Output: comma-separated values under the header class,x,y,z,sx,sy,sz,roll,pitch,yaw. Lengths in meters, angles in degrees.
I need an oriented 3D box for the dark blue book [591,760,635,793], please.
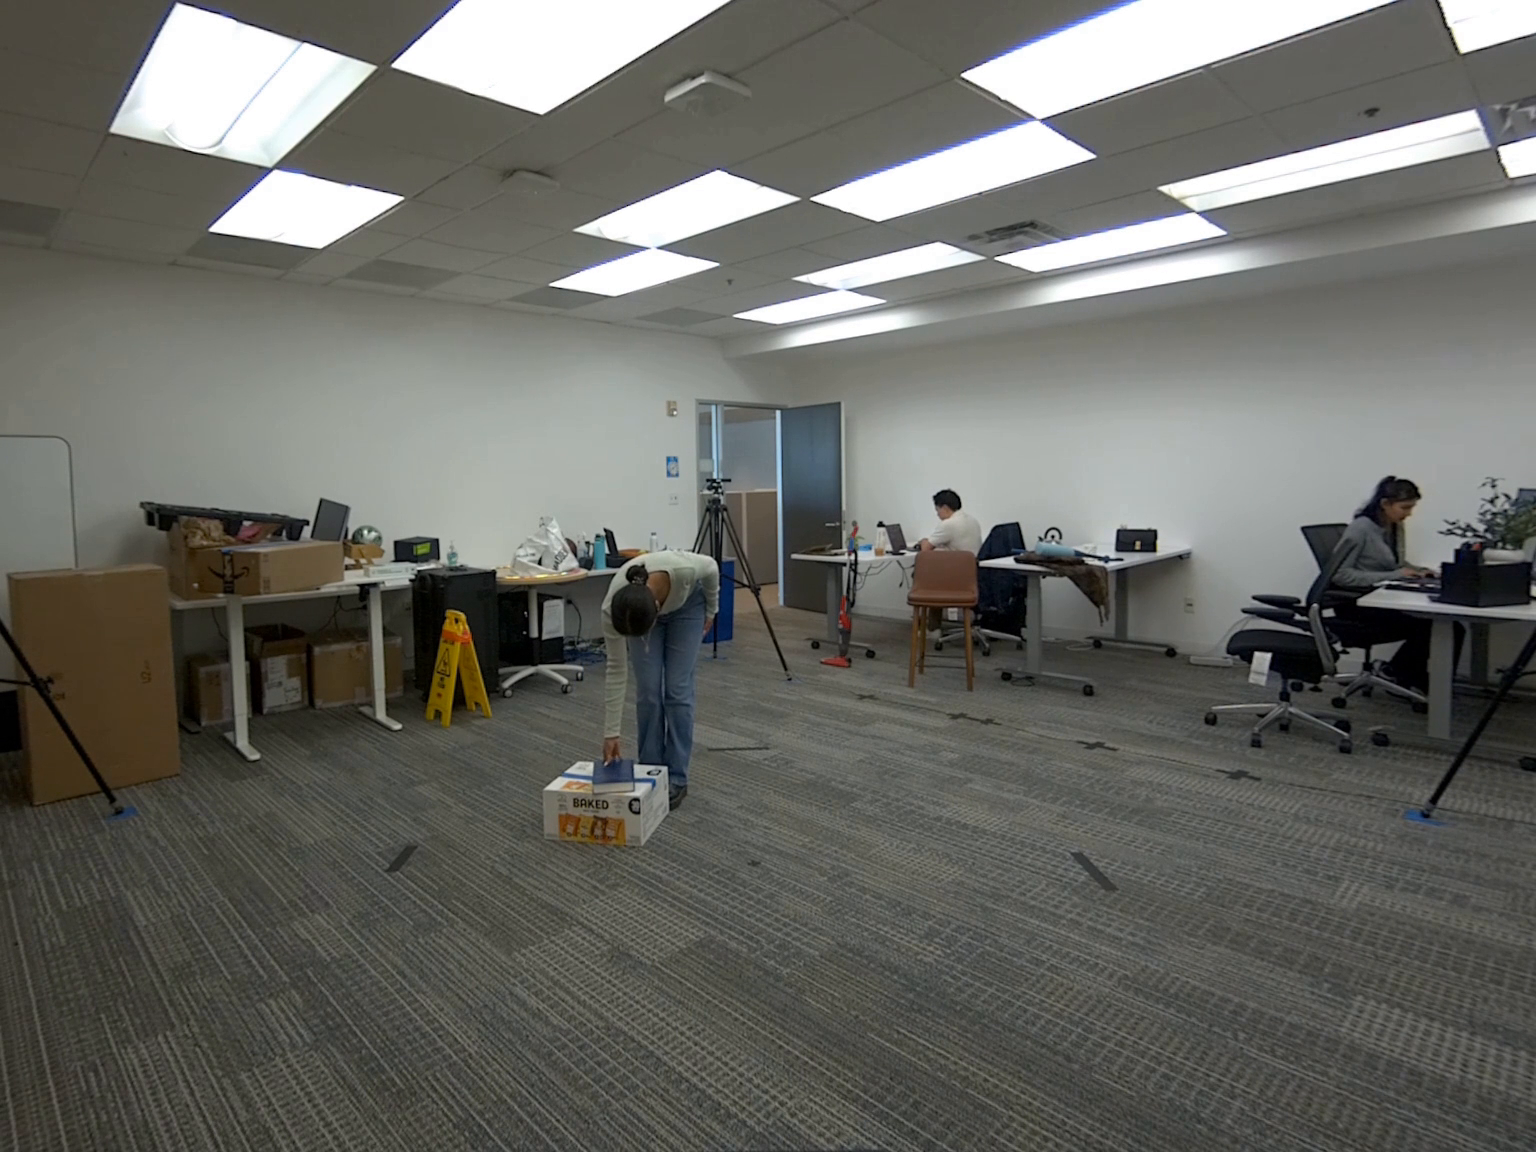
class,x,y,z,sx,sy,sz,roll,pitch,yaw
dark blue book,-0.615,0.803,3.400,0.162,0.045,0.248,-4,7,-8
